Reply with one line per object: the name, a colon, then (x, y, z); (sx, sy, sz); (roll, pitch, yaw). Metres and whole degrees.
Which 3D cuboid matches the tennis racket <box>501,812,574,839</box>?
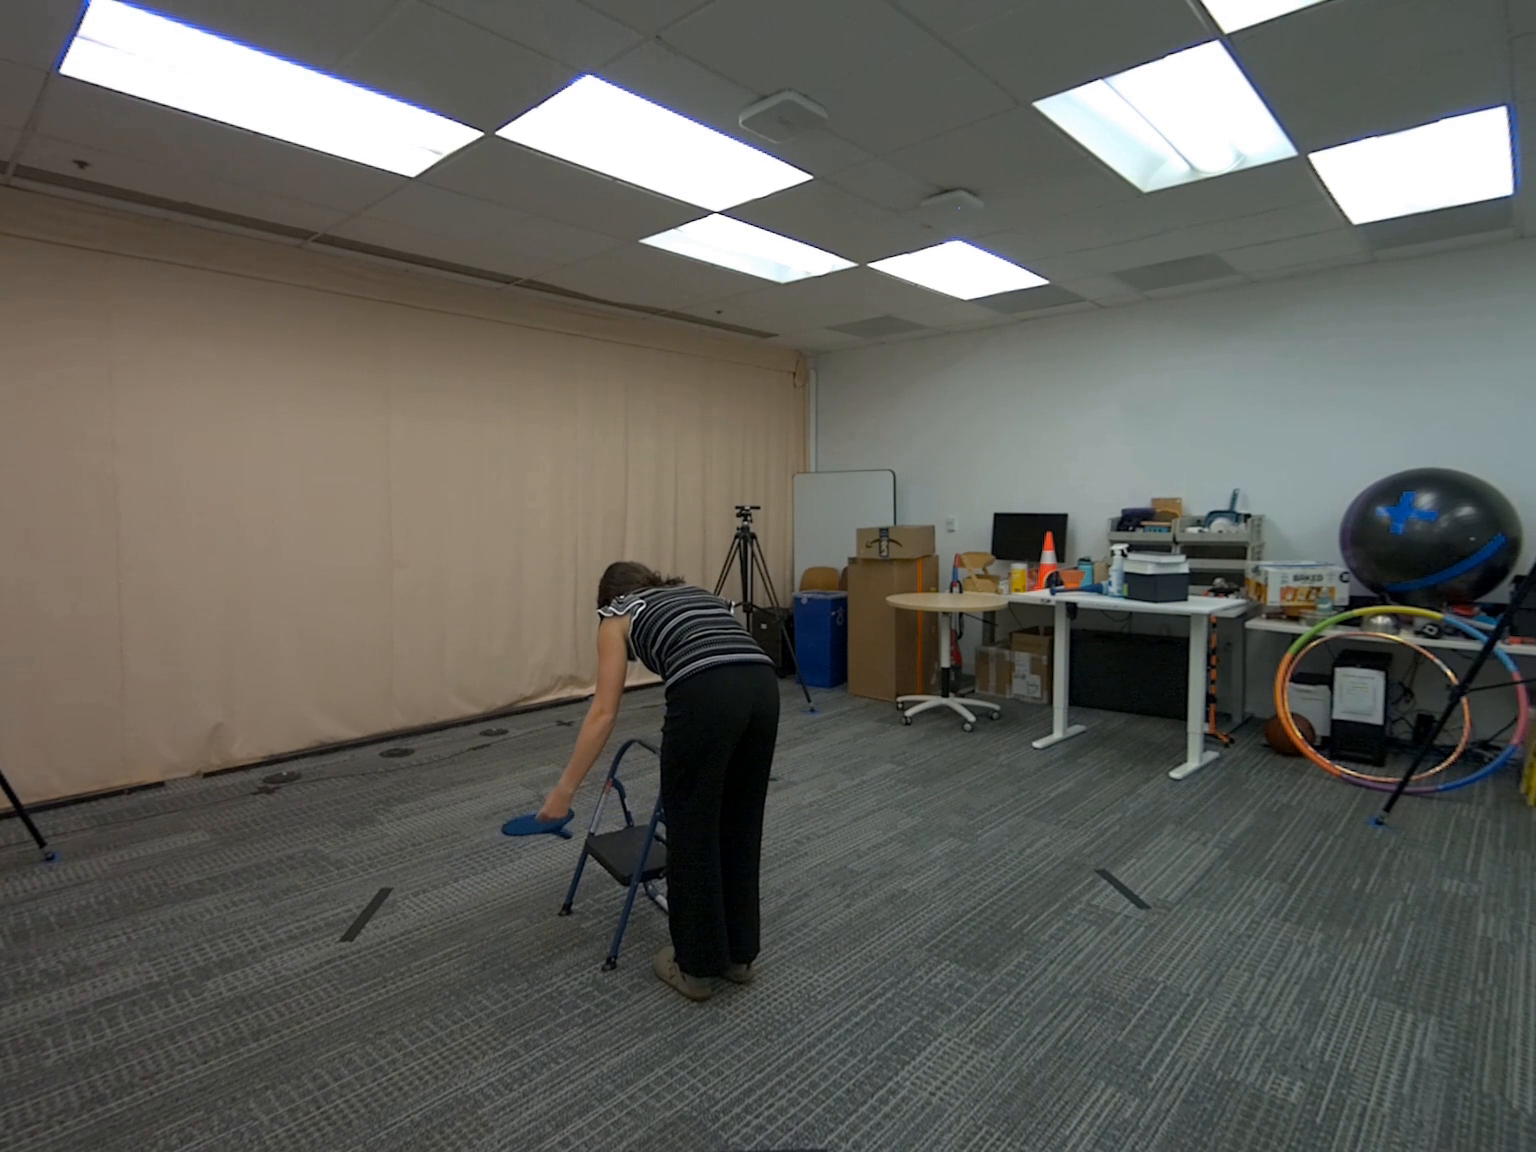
tennis racket: (-0.667, 0.769, 2.598); (0.214, 0.032, 0.423); (-18, -24, 1)
